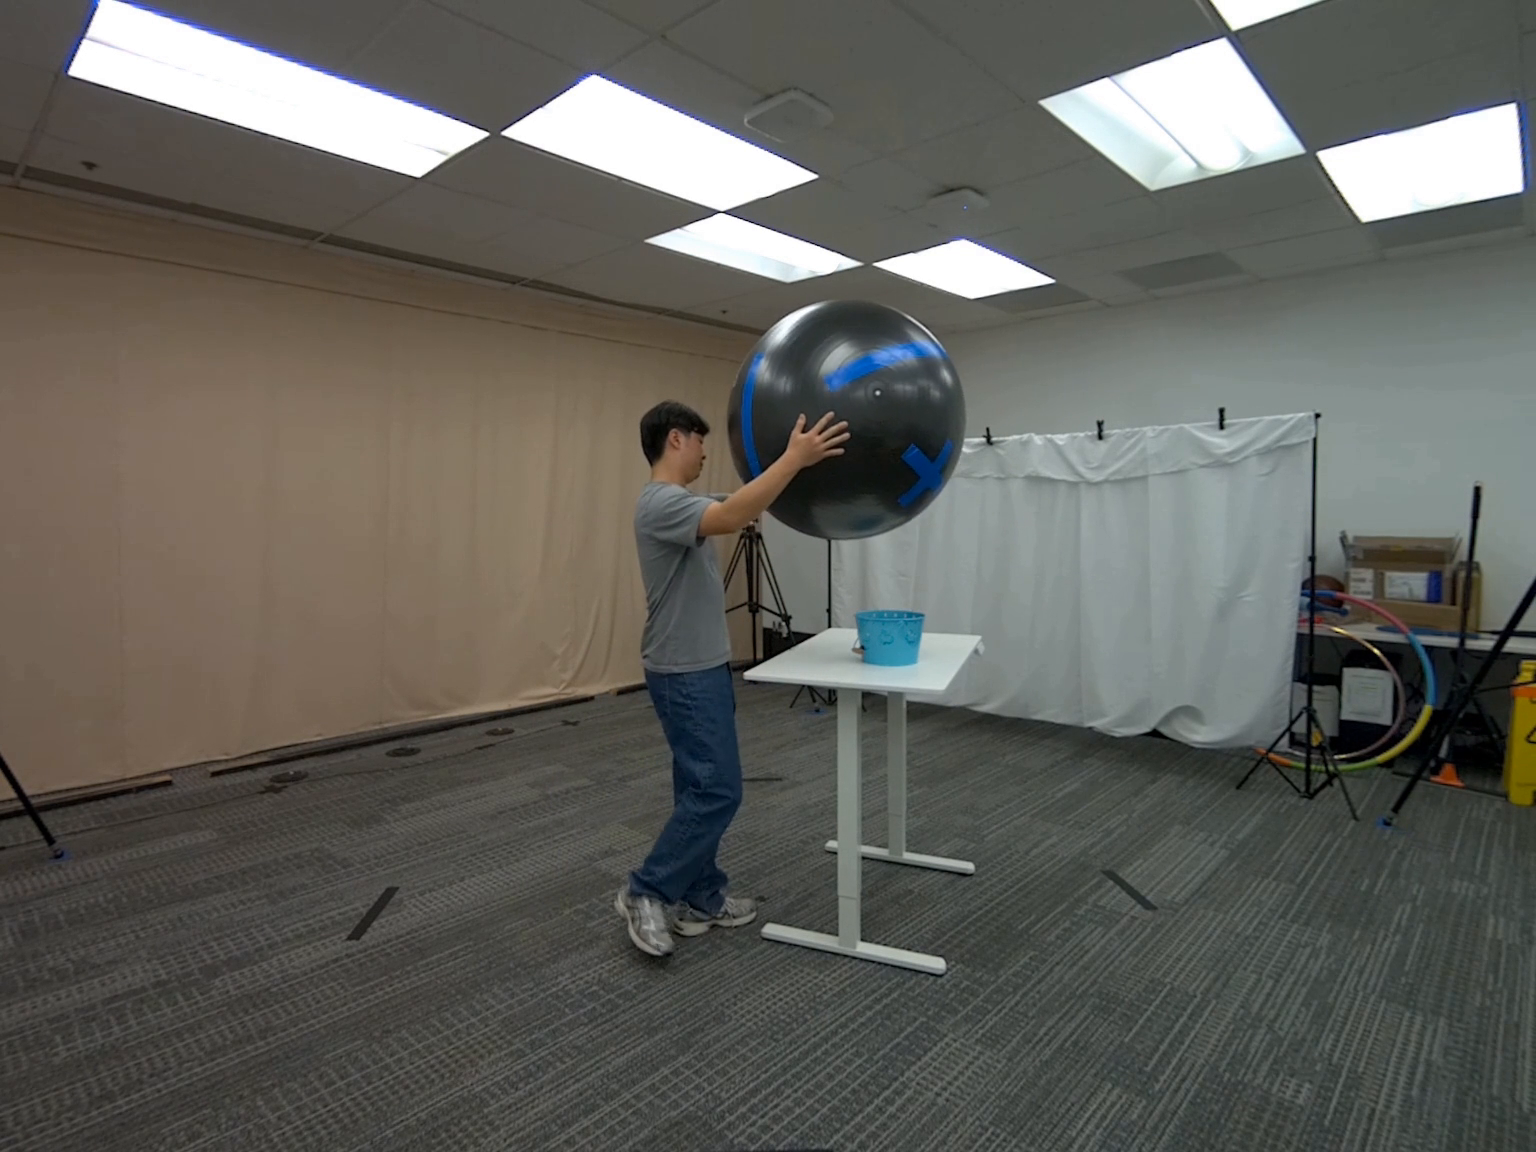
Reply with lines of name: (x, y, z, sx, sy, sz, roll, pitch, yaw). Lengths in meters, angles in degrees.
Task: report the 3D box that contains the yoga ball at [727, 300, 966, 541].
yoga ball: (0.244, -0.485, 2.726, 0.757, 0.756, 0.760, 0, 4, -2)
